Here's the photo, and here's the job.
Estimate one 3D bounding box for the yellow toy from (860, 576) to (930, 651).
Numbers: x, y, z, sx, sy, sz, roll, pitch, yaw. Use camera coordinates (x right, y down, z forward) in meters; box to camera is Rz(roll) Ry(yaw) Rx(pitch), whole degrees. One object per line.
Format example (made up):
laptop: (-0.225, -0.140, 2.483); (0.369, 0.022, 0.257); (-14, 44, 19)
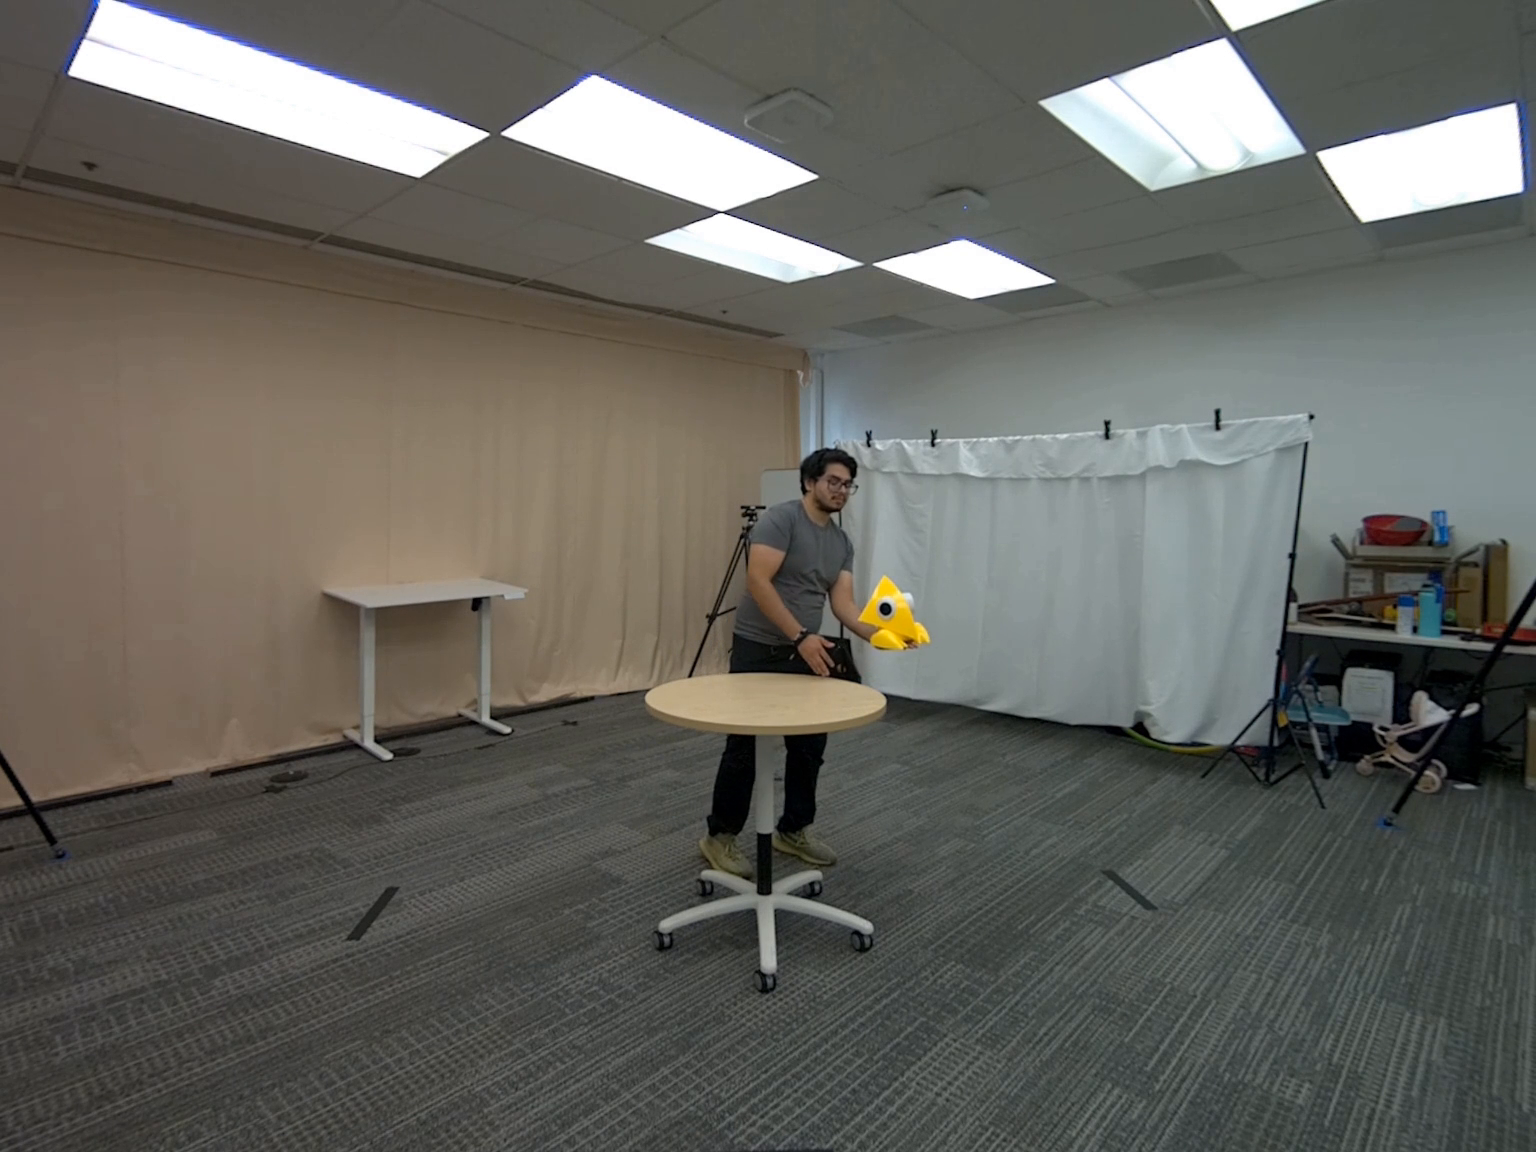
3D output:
yellow toy: (0.460, 0.120, 2.975); (0.199, 0.229, 0.199); (-8, 10, -33)
